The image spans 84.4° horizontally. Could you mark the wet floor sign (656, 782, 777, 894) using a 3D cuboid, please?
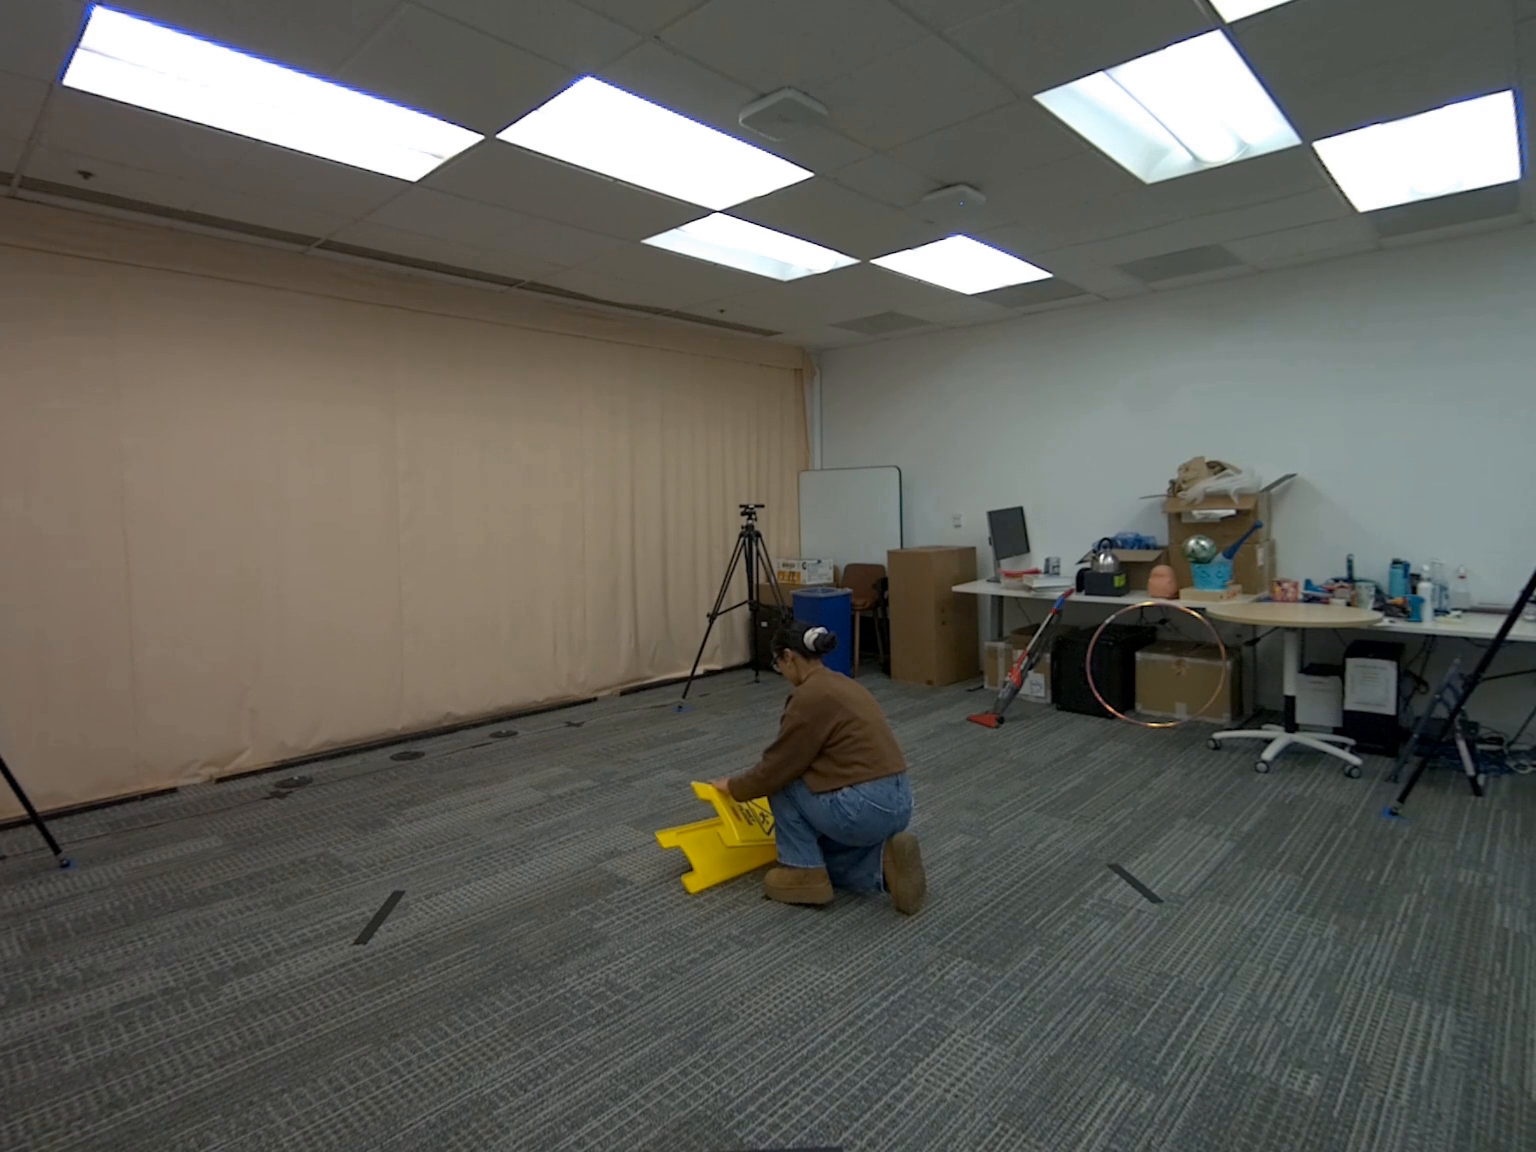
[{"bbox_3d":[-0.069,0.987,3.276,0.624,0.290,0.292,10,30,-47],"label":"wet floor sign"}]
